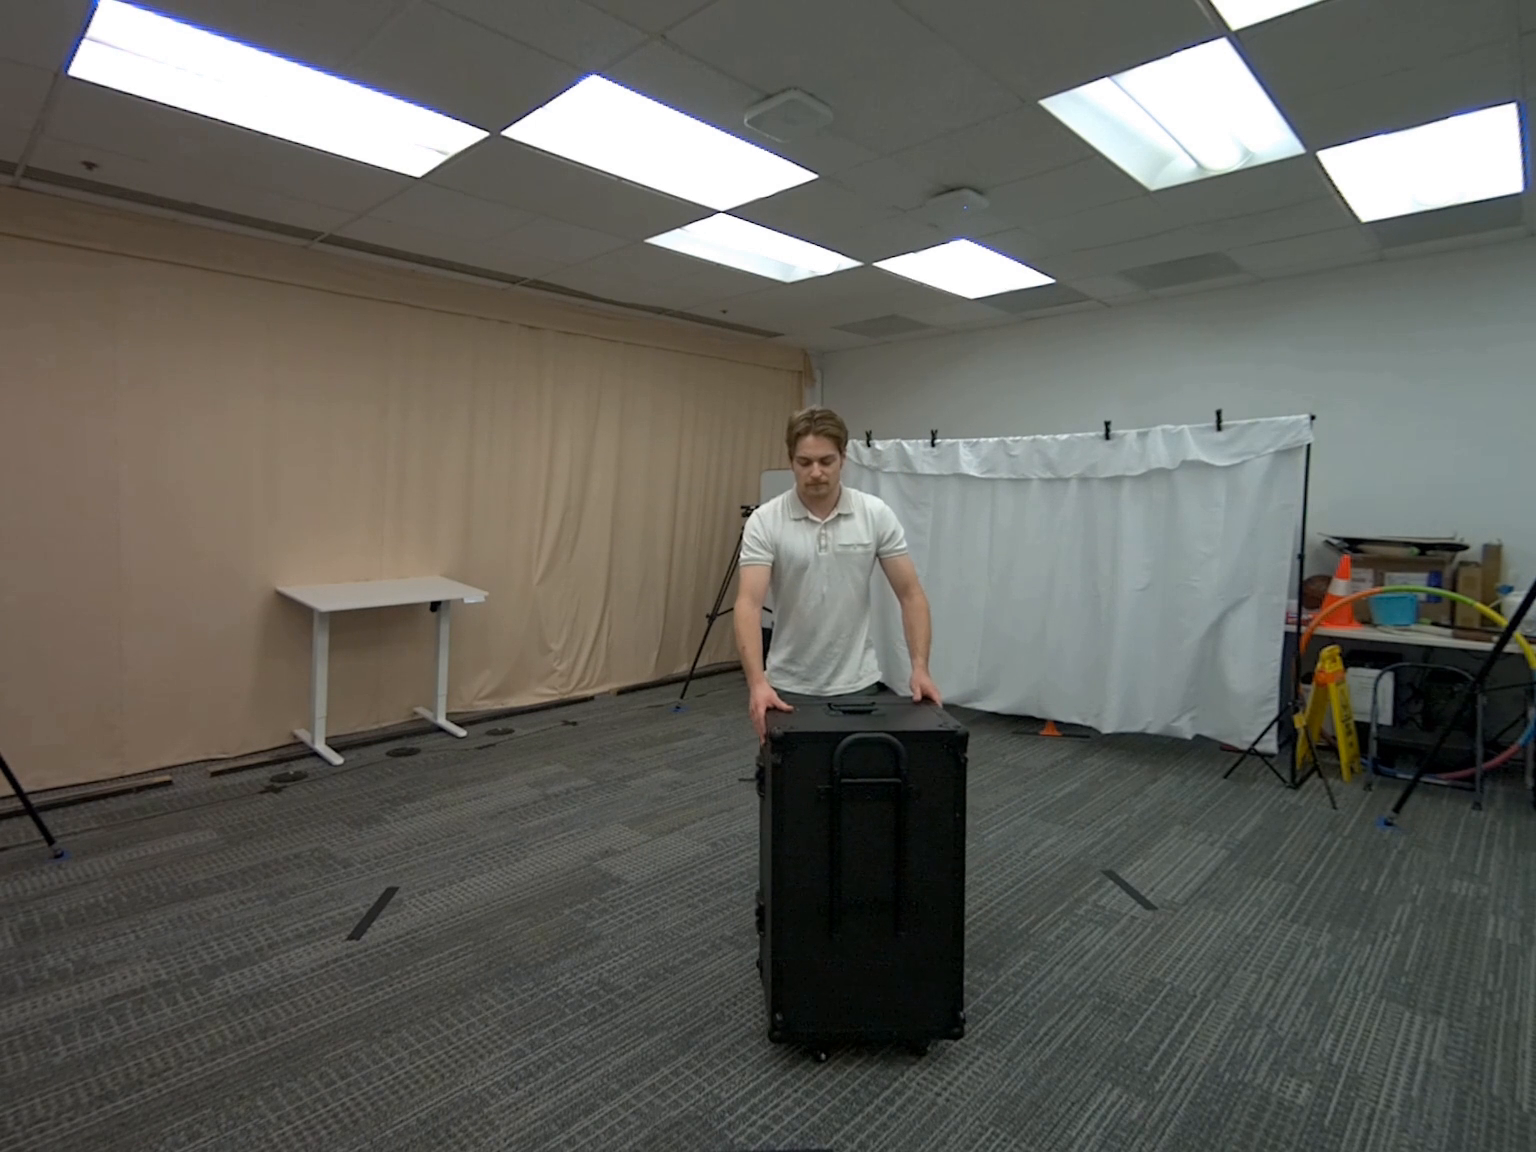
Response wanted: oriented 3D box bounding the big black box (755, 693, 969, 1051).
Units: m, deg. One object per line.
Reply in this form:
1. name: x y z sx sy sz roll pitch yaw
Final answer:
1. big black box: 0.238 0.781 2.227 0.522 0.866 0.387 0 4 -3
